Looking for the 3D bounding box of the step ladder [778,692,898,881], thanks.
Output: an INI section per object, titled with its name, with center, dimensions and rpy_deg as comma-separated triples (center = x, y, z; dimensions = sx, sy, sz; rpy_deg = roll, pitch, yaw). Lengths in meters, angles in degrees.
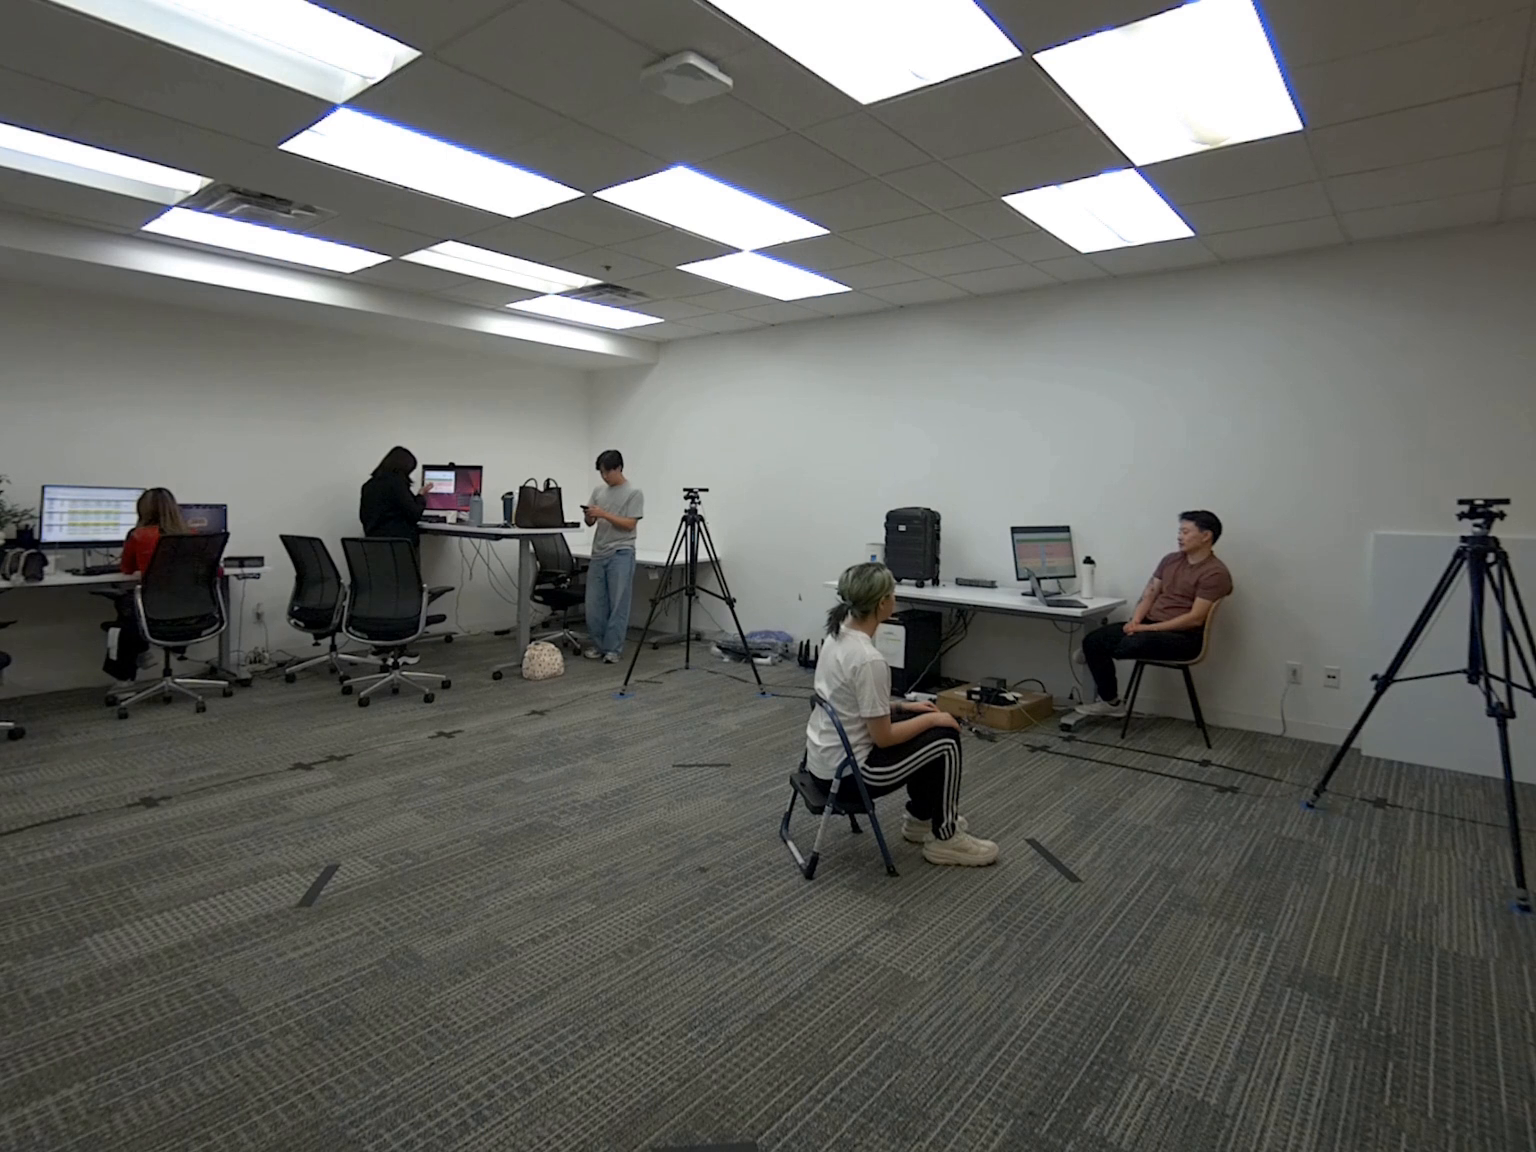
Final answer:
[step ladder]
center = 0.256, 0.769, 3.258
dimensions = 0.345, 0.604, 0.437
rpy_deg = 2, 3, -12
